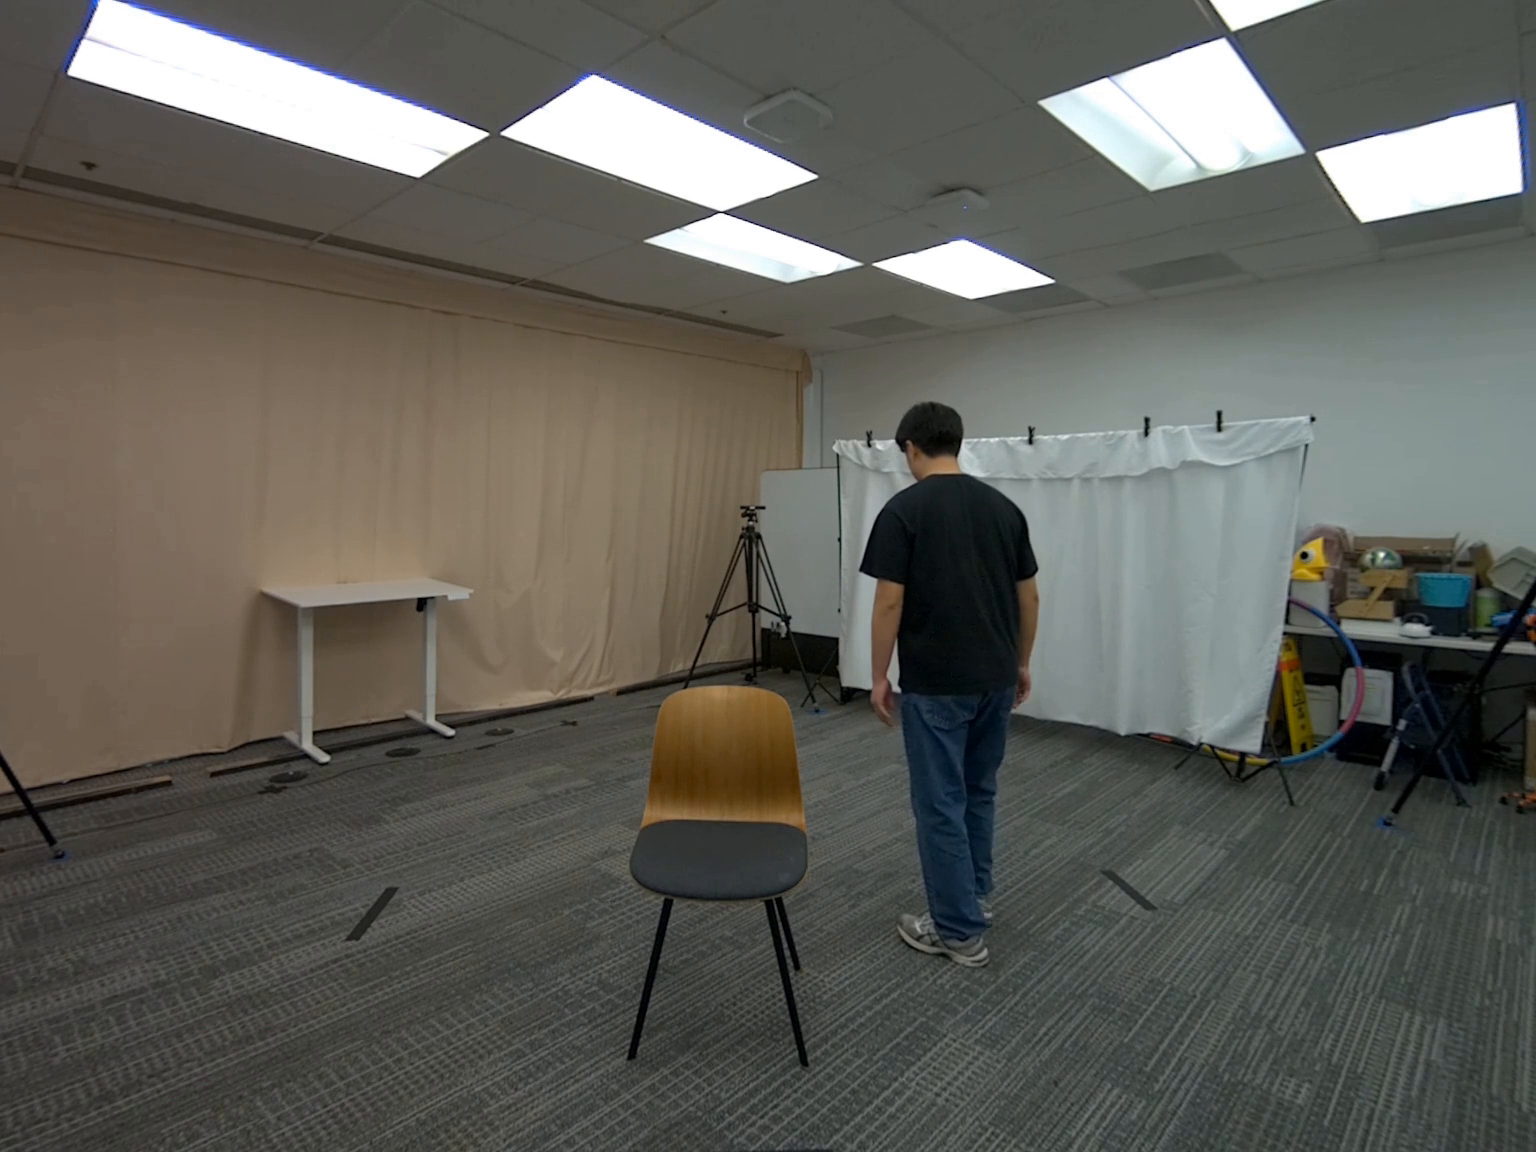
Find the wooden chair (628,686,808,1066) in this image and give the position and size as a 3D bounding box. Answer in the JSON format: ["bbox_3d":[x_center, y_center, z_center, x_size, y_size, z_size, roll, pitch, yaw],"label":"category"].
[{"bbox_3d":[-0.114,0.774,2.287,0.479,0.878,0.522,1,-1,1],"label":"wooden chair"}]
